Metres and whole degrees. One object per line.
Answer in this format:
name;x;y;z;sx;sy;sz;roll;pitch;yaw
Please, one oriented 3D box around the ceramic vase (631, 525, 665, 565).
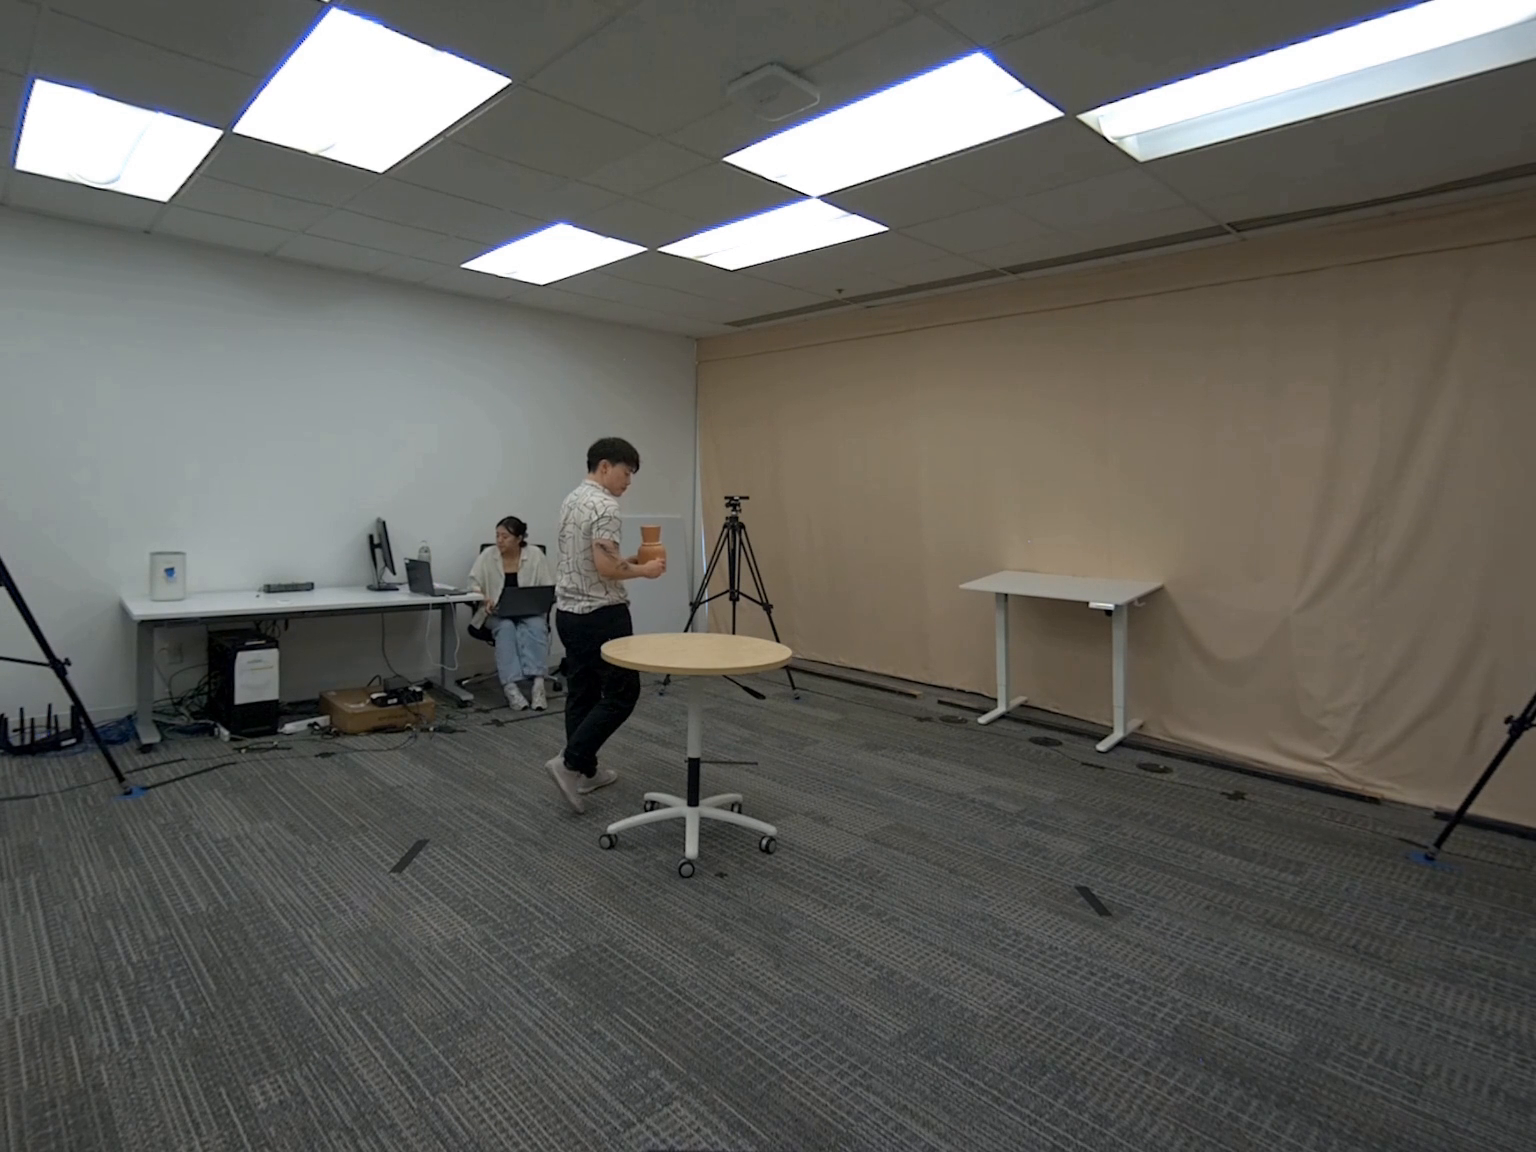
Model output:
ceramic vase;-0.559;-0.129;3.986;0.161;0.219;0.132;0;4;23
